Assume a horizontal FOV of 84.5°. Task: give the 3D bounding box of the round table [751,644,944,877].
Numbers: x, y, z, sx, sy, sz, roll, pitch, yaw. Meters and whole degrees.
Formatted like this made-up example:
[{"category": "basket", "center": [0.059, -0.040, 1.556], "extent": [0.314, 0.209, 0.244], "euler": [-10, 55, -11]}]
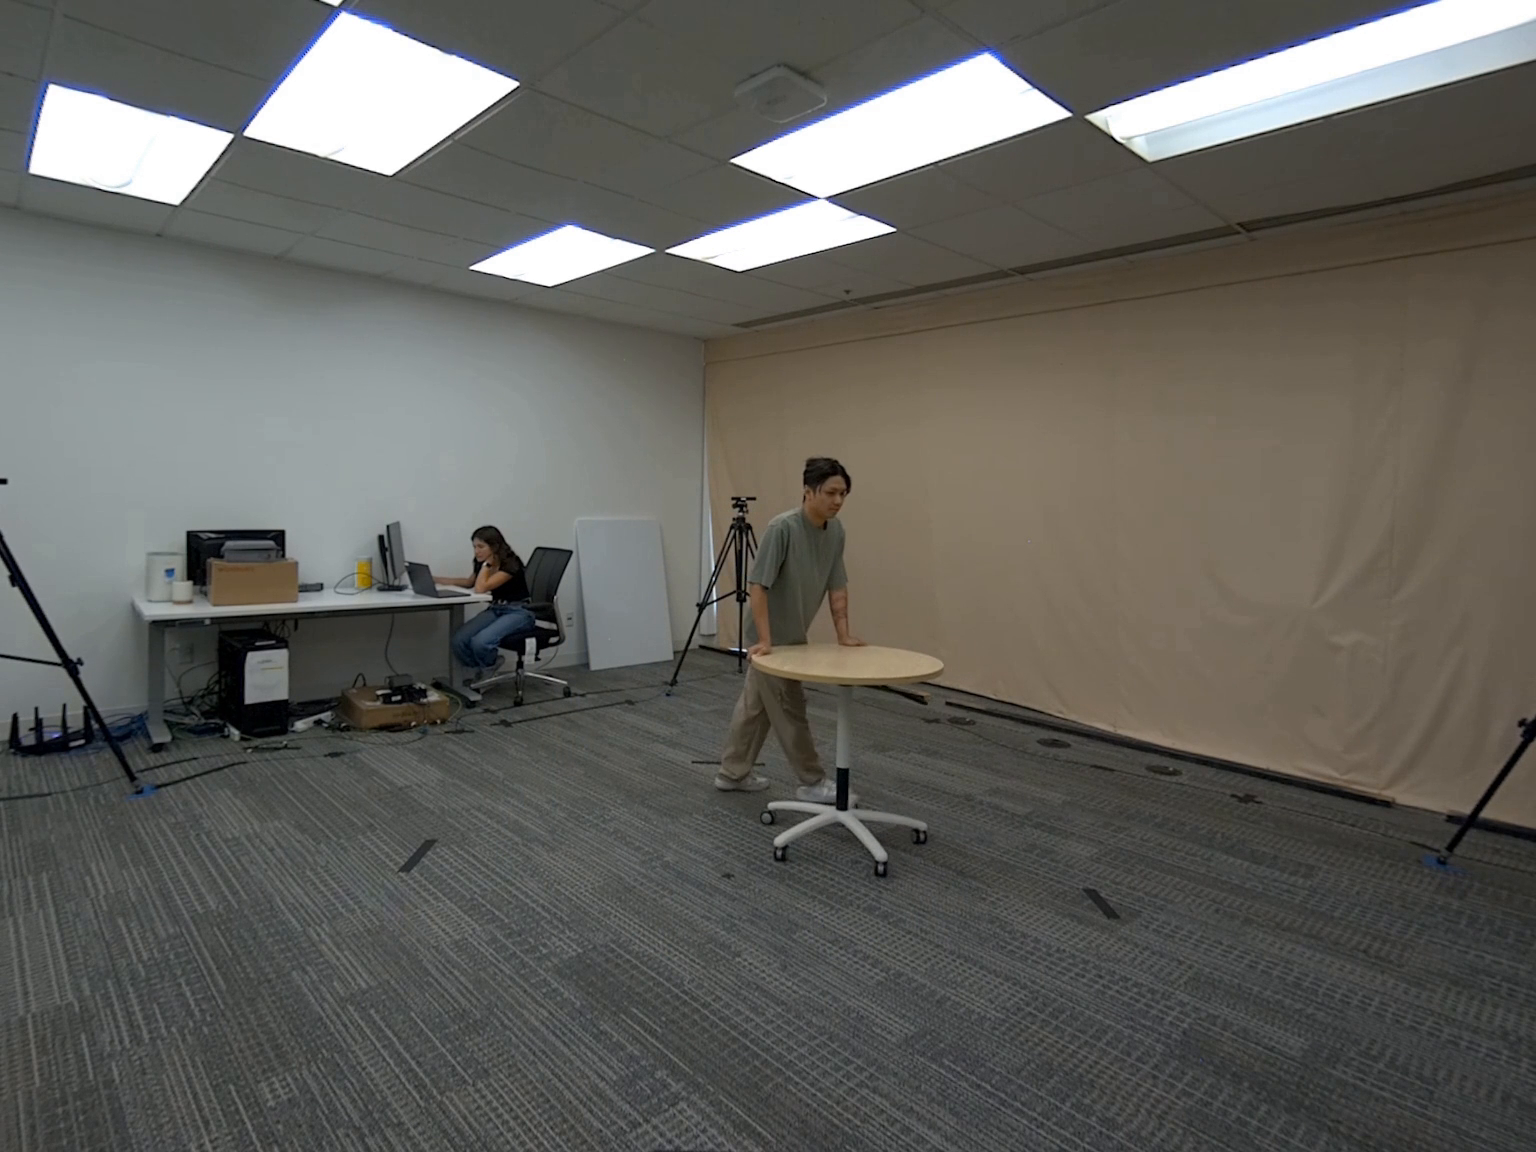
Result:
[{"category": "round table", "center": [0.284, 0.709, 3.412], "extent": [0.784, 0.785, 0.787], "euler": [2, 3, -1]}]
